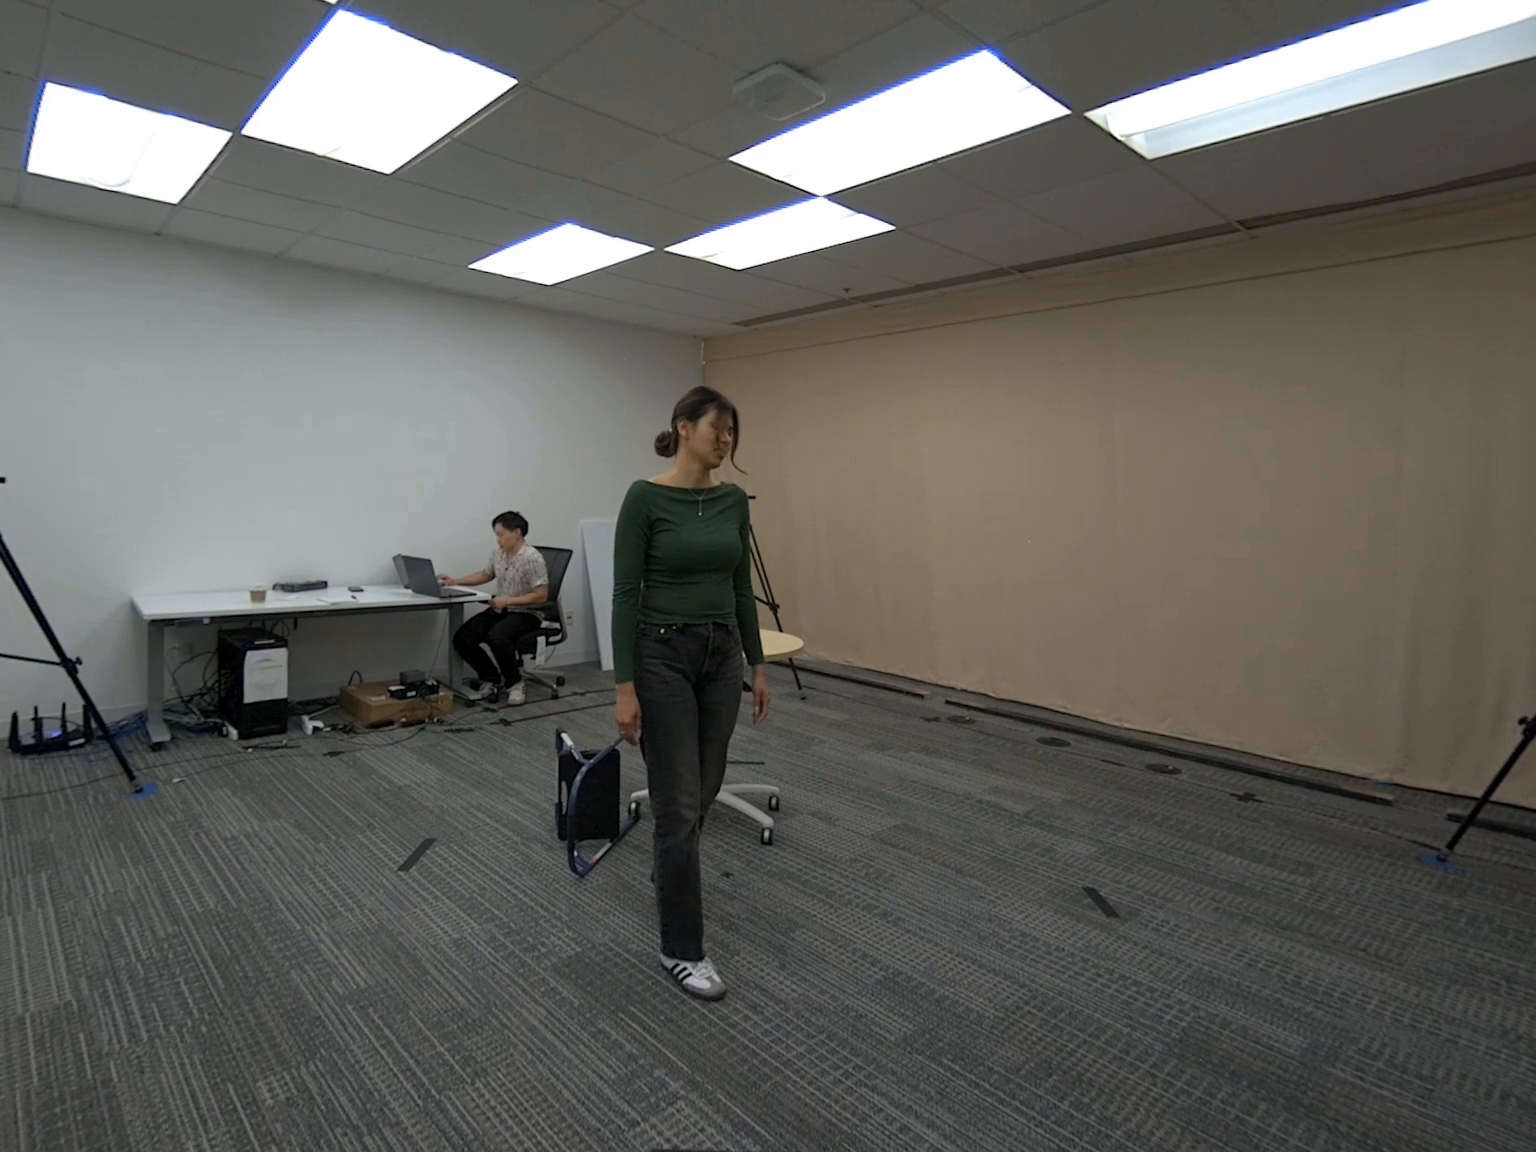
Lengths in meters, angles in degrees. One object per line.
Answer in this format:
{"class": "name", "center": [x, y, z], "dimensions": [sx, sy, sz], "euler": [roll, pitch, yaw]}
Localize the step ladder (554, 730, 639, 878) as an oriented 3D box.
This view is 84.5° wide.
{"class": "step ladder", "center": [-0.670, 0.861, 3.253], "dimensions": [0.347, 0.429, 0.613], "euler": [-1, 6, -10]}
